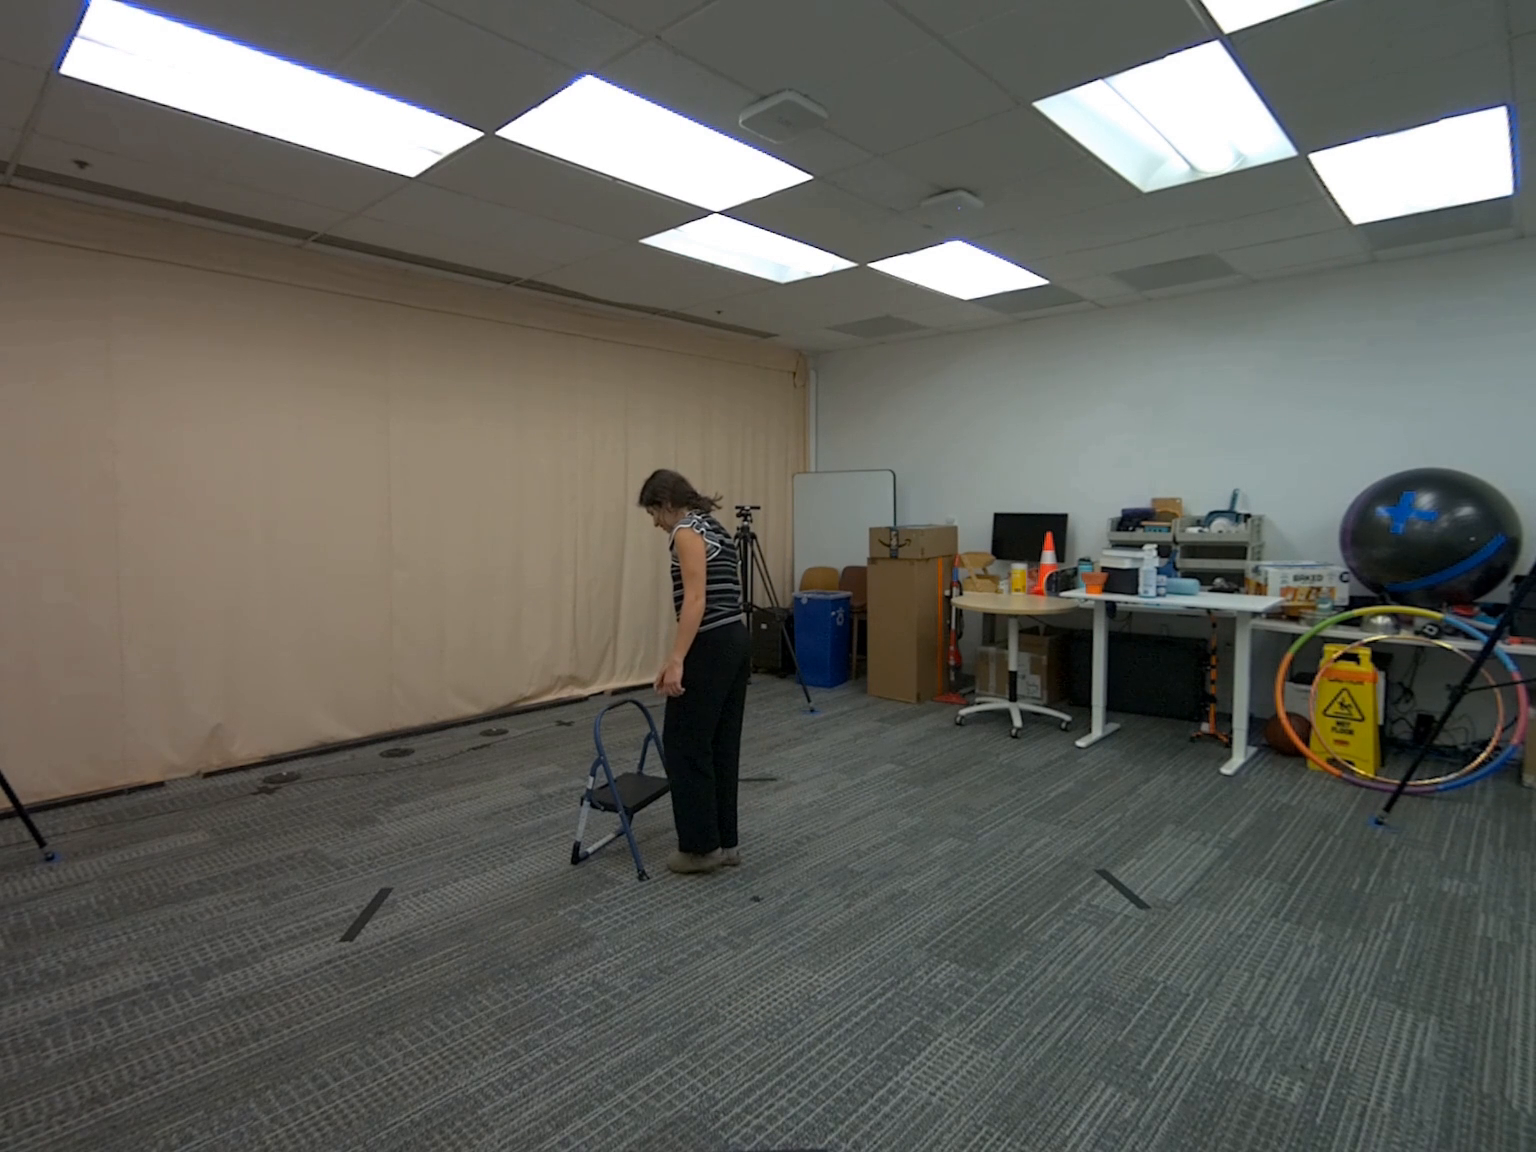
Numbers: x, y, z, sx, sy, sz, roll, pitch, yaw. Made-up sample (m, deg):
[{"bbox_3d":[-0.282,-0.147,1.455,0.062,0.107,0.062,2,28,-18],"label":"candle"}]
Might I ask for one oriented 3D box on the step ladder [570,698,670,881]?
[{"bbox_3d":[-0.541,0.816,3.385,0.358,0.605,0.421,1,3,24],"label":"step ladder"}]
